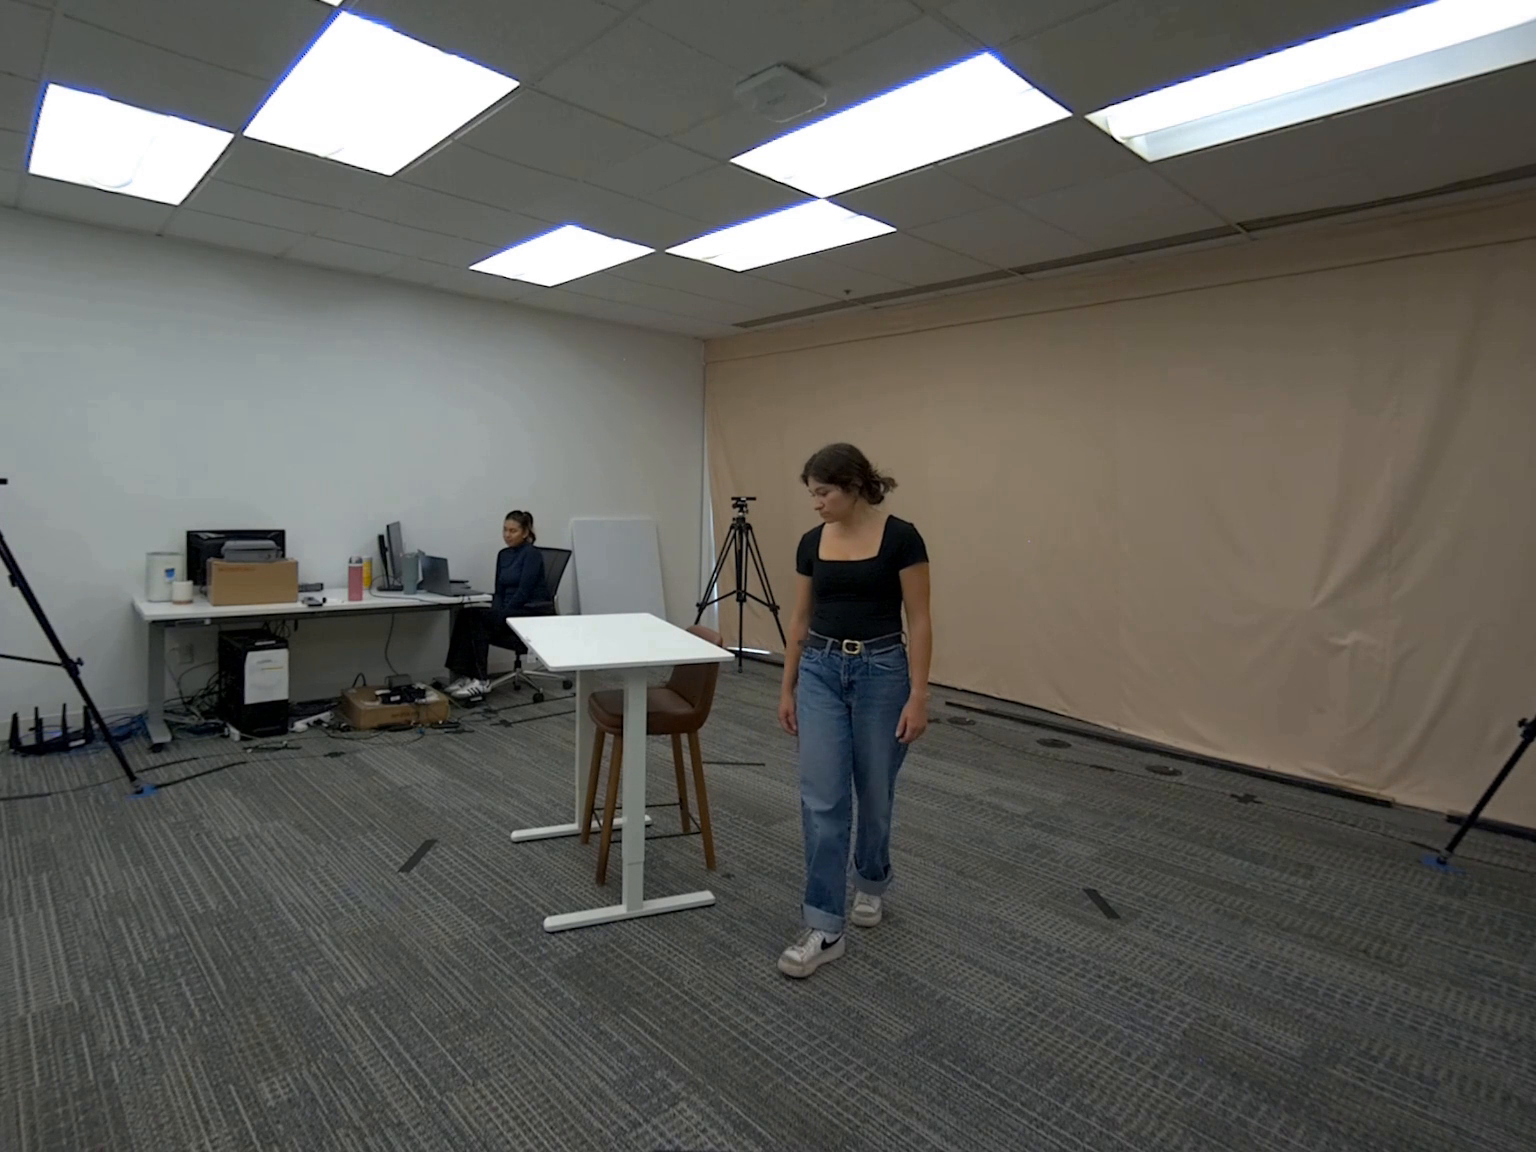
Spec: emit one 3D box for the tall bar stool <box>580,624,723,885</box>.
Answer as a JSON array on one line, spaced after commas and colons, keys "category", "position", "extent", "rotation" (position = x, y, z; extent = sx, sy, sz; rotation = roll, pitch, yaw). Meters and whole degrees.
[{"category": "tall bar stool", "position": [-0.458, 0.659, 3.239], "extent": [0.460, 0.888, 0.464], "rotation": [2, 2, -20]}]
